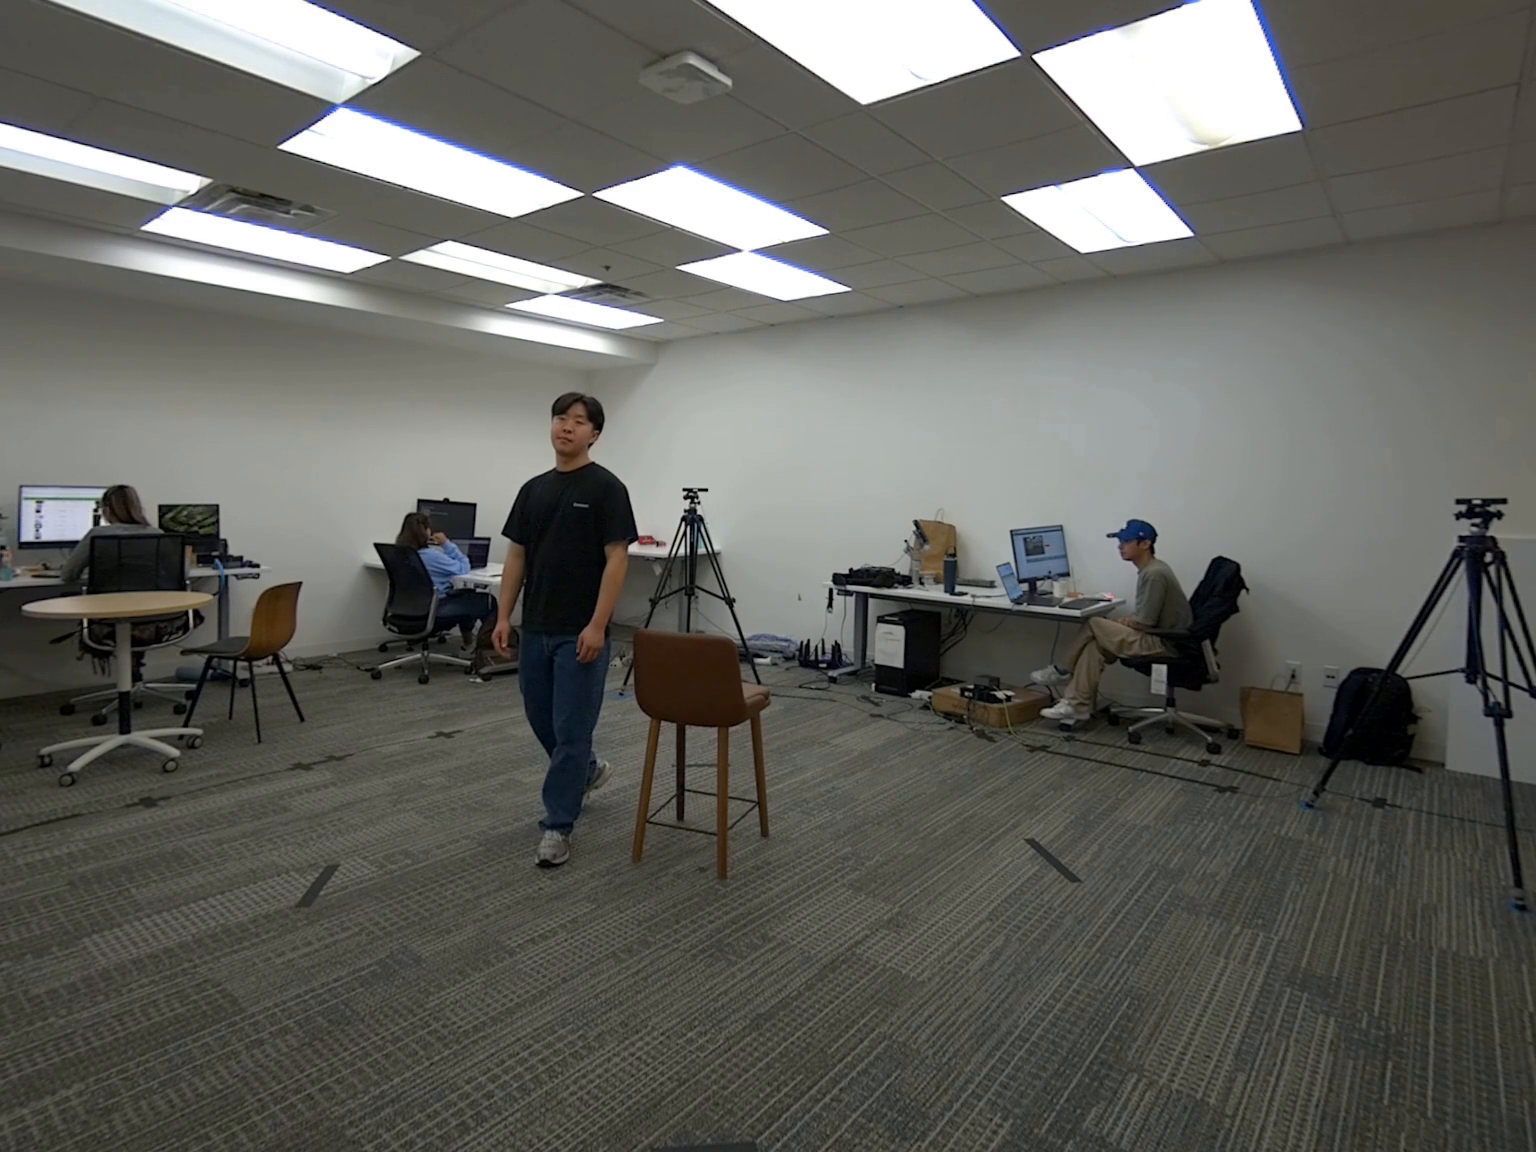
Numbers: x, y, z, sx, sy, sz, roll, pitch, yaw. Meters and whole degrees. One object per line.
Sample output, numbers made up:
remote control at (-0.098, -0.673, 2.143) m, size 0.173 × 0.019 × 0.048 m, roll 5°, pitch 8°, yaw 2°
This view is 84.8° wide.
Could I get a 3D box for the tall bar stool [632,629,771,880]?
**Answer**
tall bar stool at (-0.264, 0.621, 3.279) m, size 0.467 × 0.886 × 0.459 m, roll 2°, pitch 5°, yaw 21°
